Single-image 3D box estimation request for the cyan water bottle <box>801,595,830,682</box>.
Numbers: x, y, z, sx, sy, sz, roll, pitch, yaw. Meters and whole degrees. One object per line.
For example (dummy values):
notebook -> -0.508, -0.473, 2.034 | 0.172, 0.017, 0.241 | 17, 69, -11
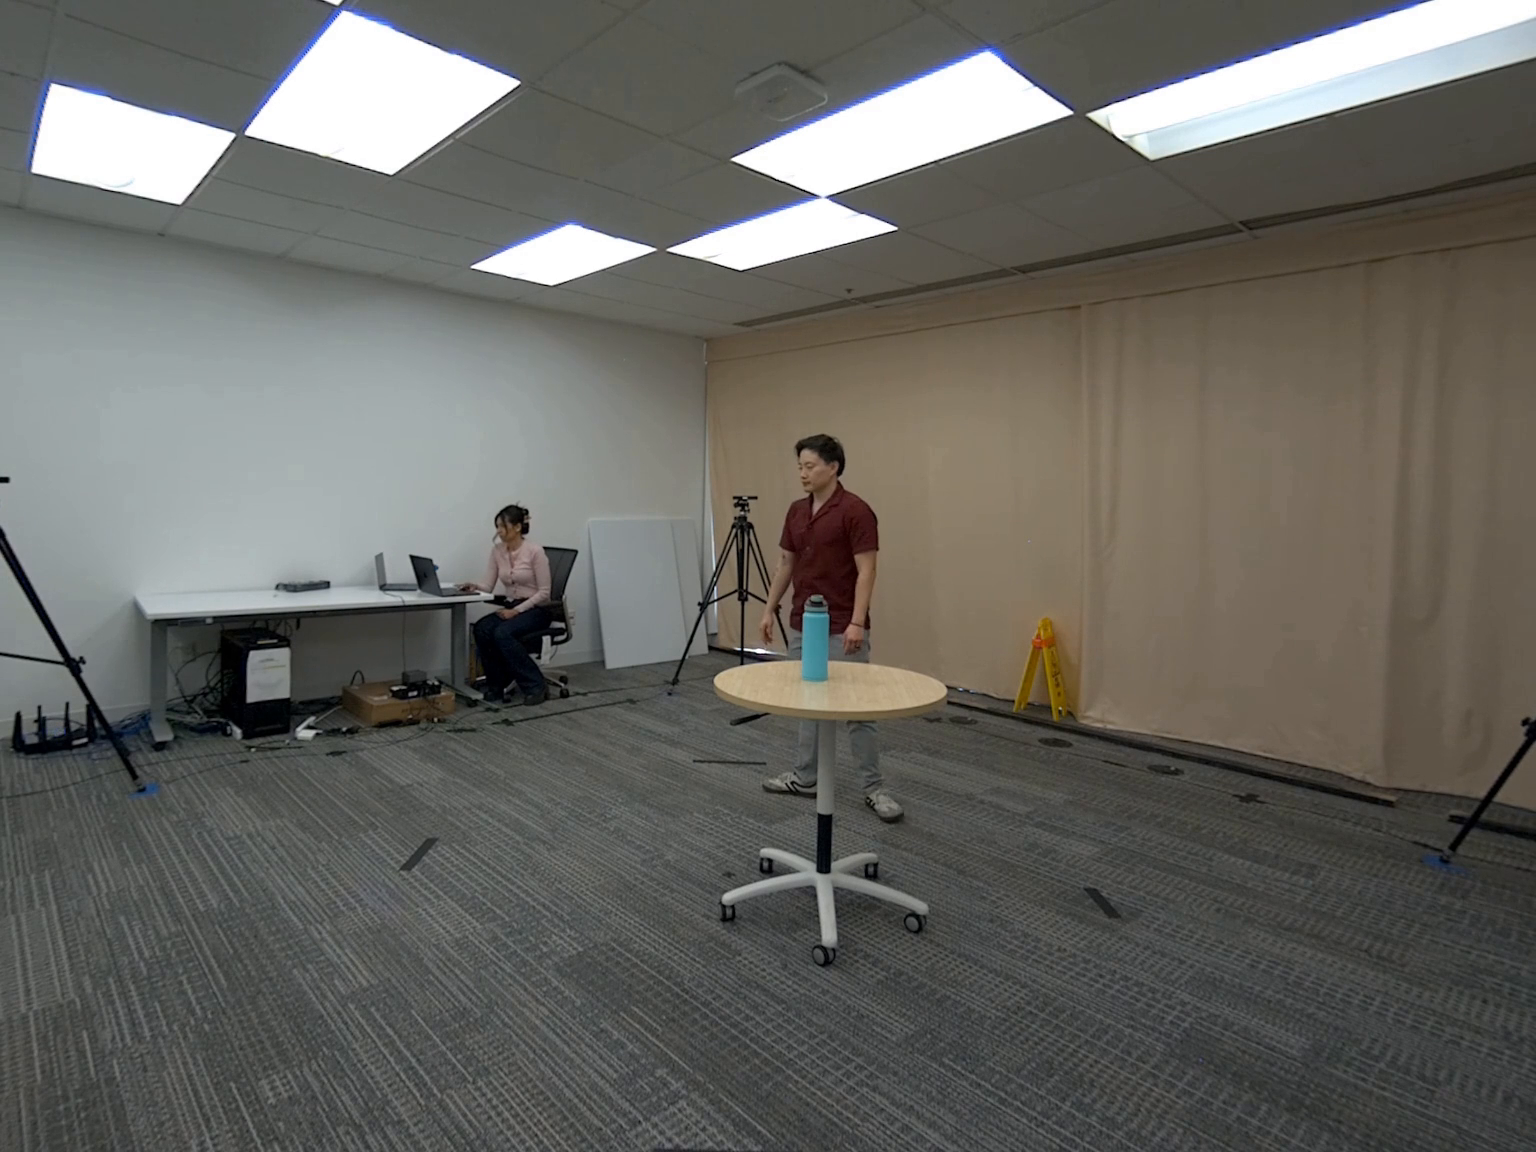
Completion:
cyan water bottle -> 0.153, 0.211, 2.851 | 0.092, 0.283, 0.092 | 0, 2, -1
